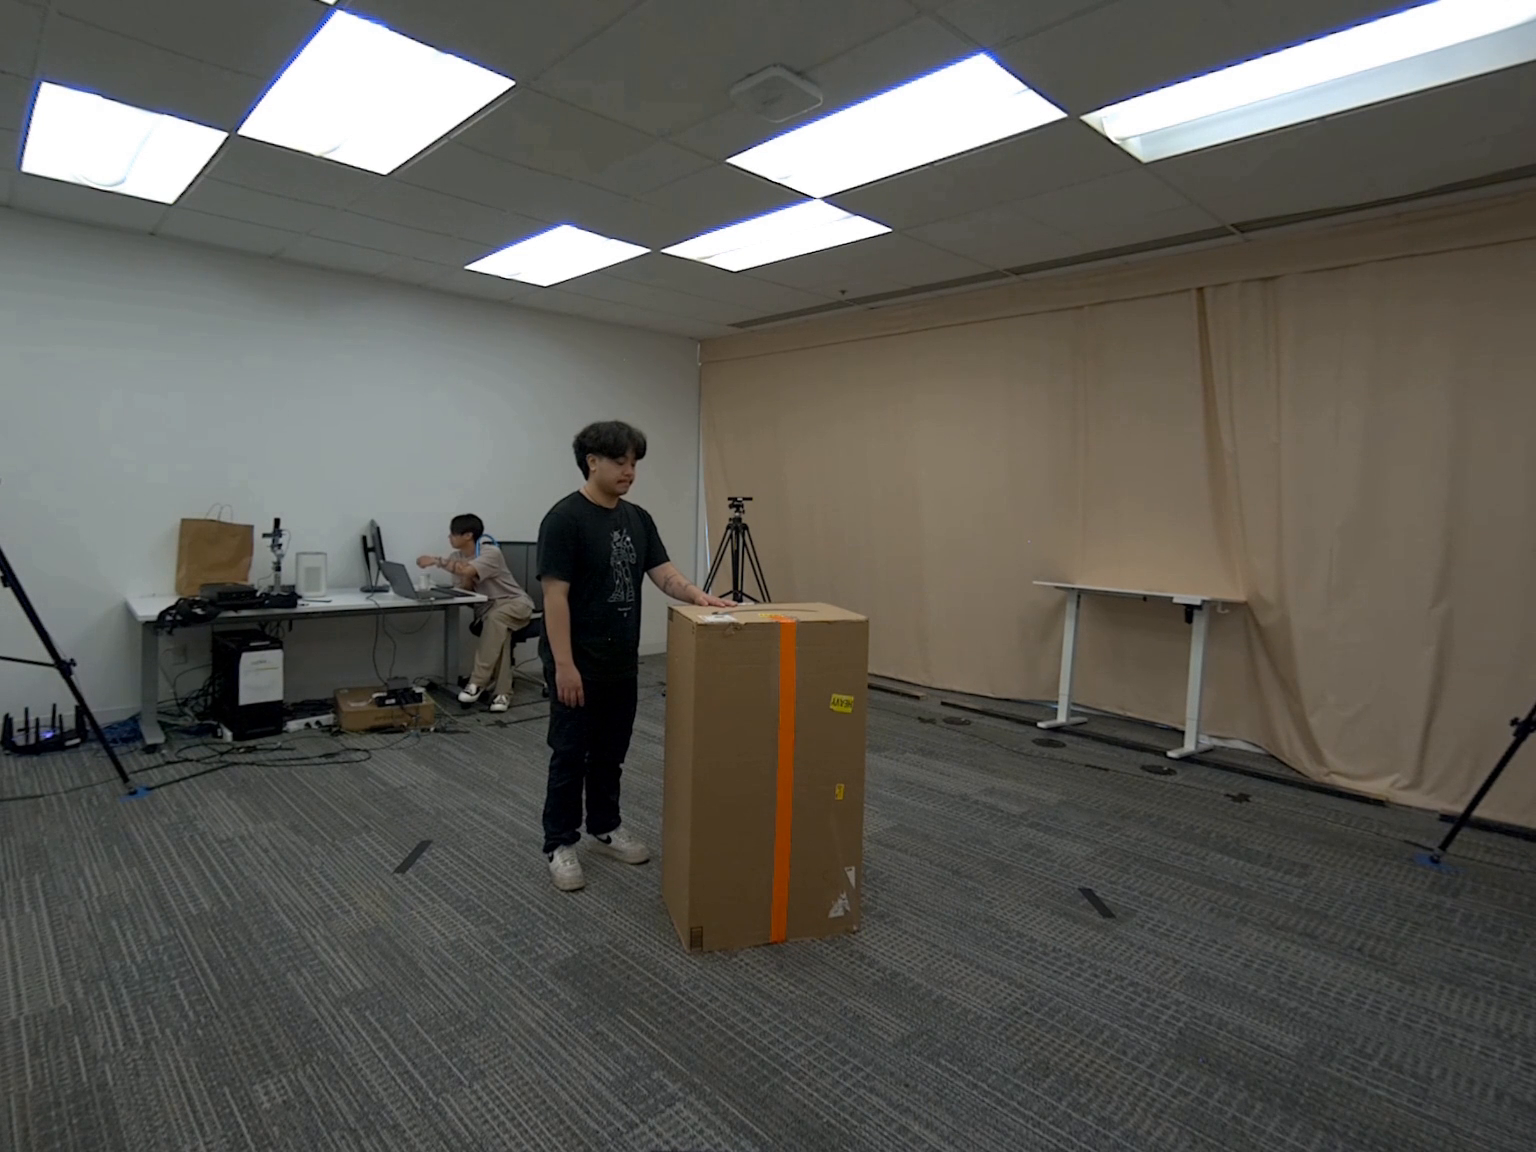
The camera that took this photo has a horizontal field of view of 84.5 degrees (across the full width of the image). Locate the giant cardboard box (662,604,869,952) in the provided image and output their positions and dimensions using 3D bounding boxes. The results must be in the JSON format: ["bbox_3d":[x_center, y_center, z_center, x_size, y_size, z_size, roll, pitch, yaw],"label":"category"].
[{"bbox_3d":[-0.031,0.625,2.813,0.576,1.024,0.454,0,4,-17],"label":"giant cardboard box"}]
